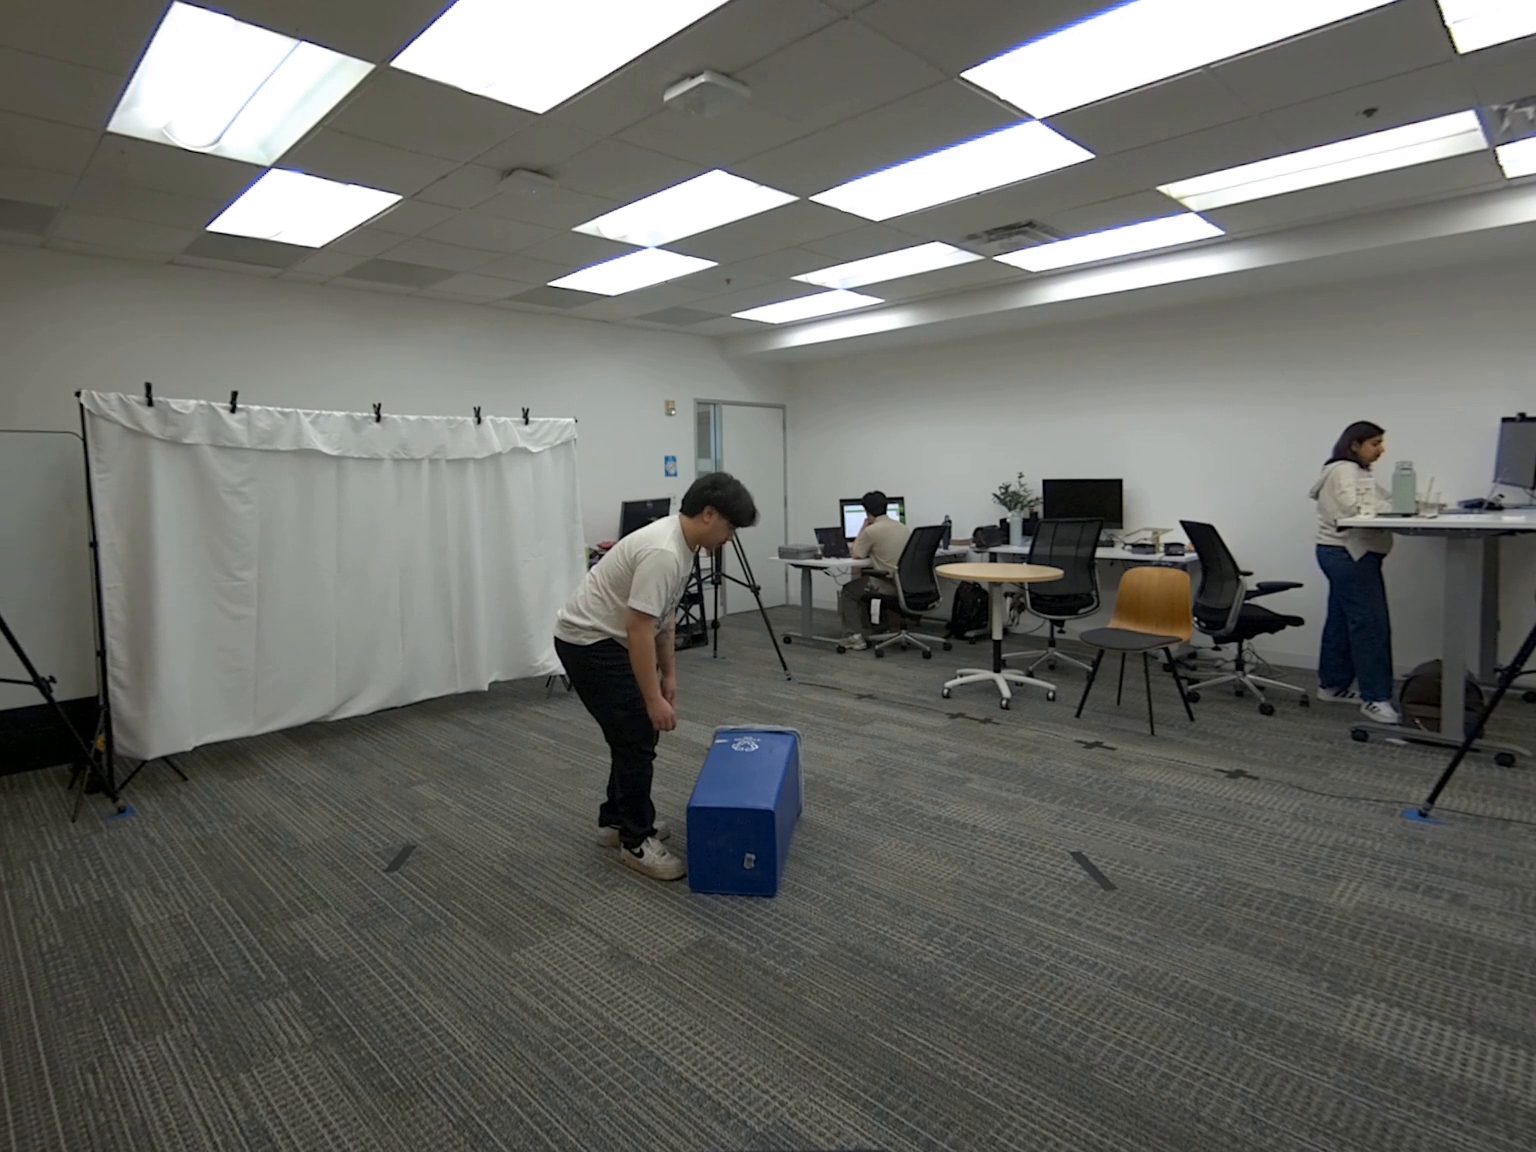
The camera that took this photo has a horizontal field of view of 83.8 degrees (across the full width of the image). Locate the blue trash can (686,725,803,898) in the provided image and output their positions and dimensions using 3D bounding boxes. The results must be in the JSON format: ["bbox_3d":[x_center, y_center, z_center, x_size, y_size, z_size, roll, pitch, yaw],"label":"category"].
[{"bbox_3d":[-0.075,0.865,3.202,0.377,0.375,0.714,0,9,6],"label":"blue trash can"}]
